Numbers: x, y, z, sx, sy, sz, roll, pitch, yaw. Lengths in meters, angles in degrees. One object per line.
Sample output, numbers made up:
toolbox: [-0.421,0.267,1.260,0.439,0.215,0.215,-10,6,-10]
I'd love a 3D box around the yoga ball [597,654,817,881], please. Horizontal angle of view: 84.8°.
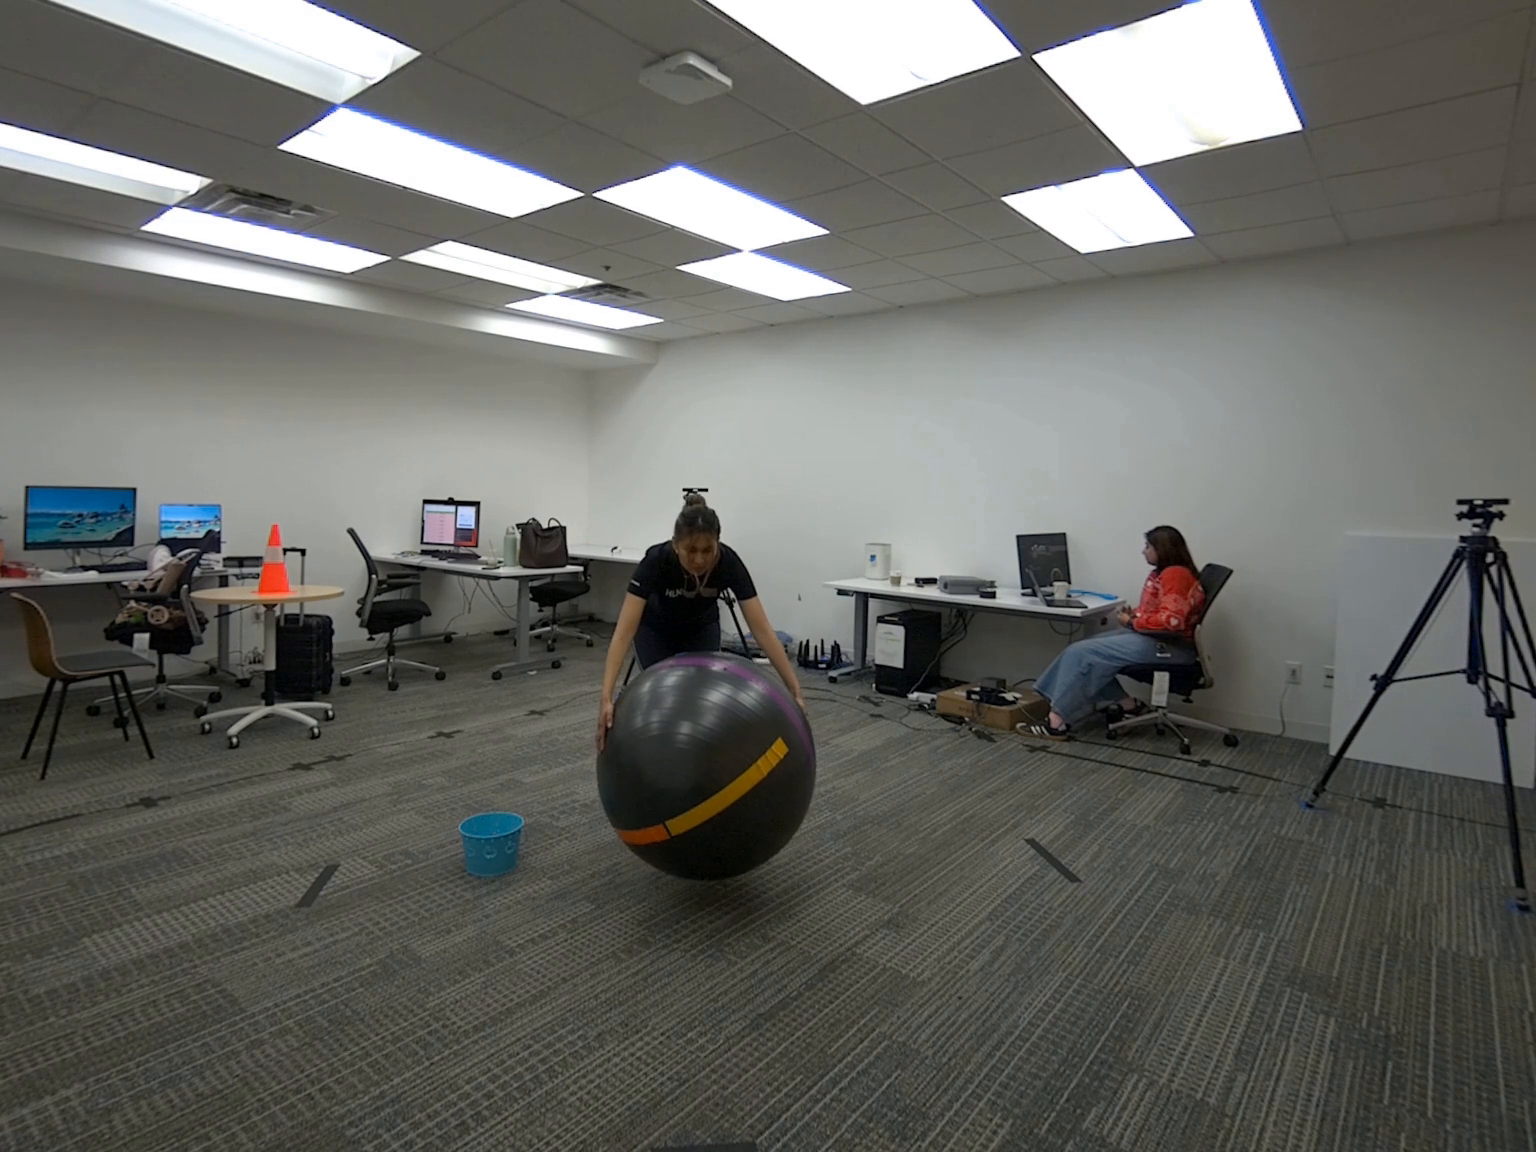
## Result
yoga ball: [-0.224,0.634,2.924,0.757,0.756,0.762,1,4,-2]
